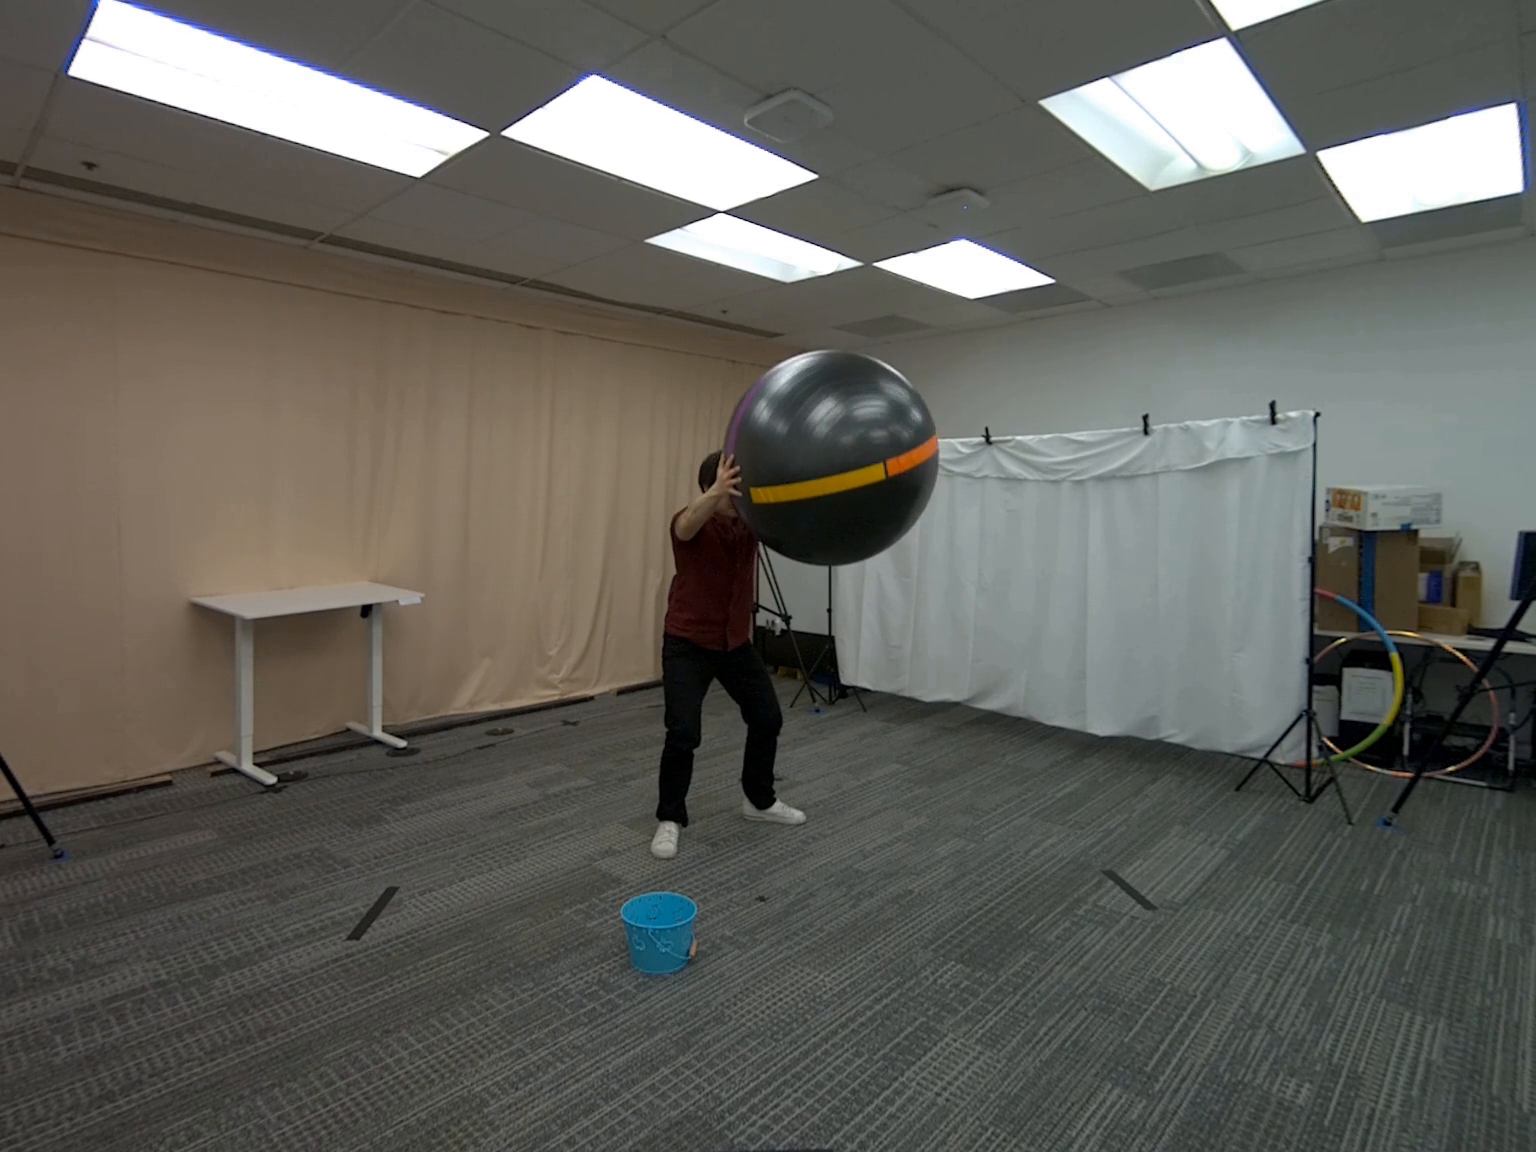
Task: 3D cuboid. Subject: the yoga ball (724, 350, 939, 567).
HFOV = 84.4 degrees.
[{"bbox_3d":[0.220,-0.404,2.993,0.757,0.756,0.760,0,4,-2],"label":"yoga ball"}]
